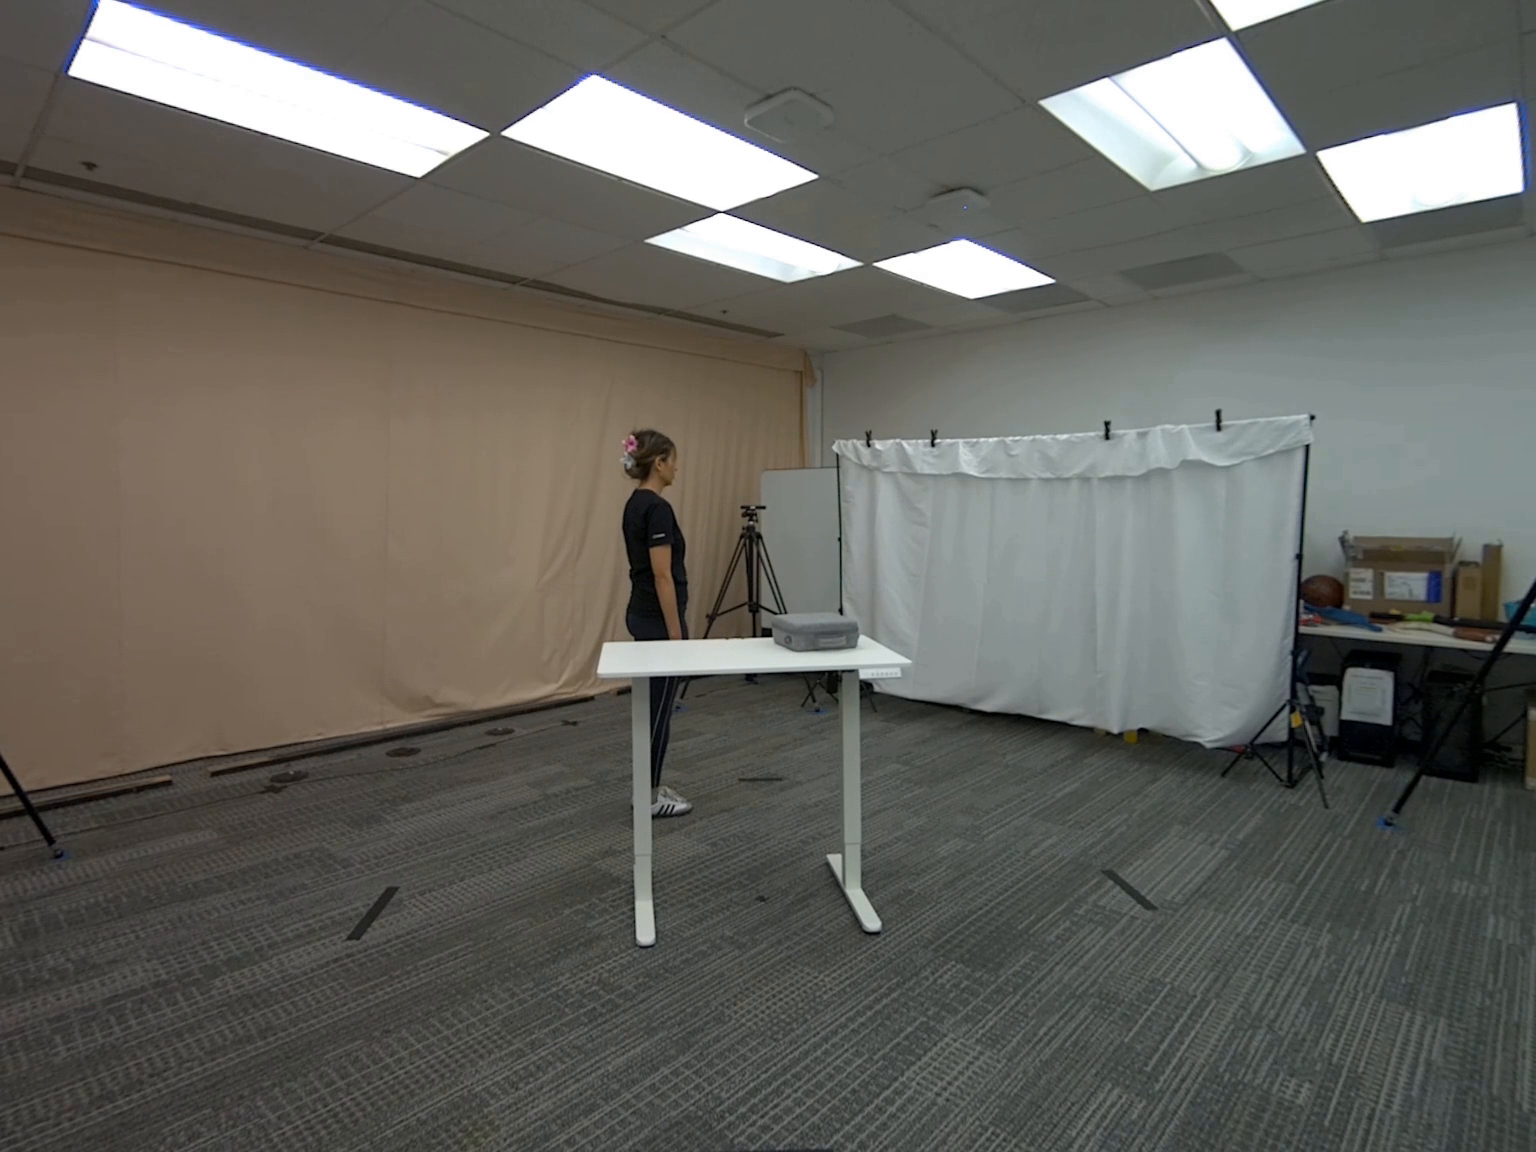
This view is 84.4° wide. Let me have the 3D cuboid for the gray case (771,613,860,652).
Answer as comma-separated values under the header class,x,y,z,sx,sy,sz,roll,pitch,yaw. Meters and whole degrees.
class,x,y,z,sx,sy,sz,roll,pitch,yaw
gray case,0.174,0.200,3.046,0.252,0.104,0.266,-2,5,-18
